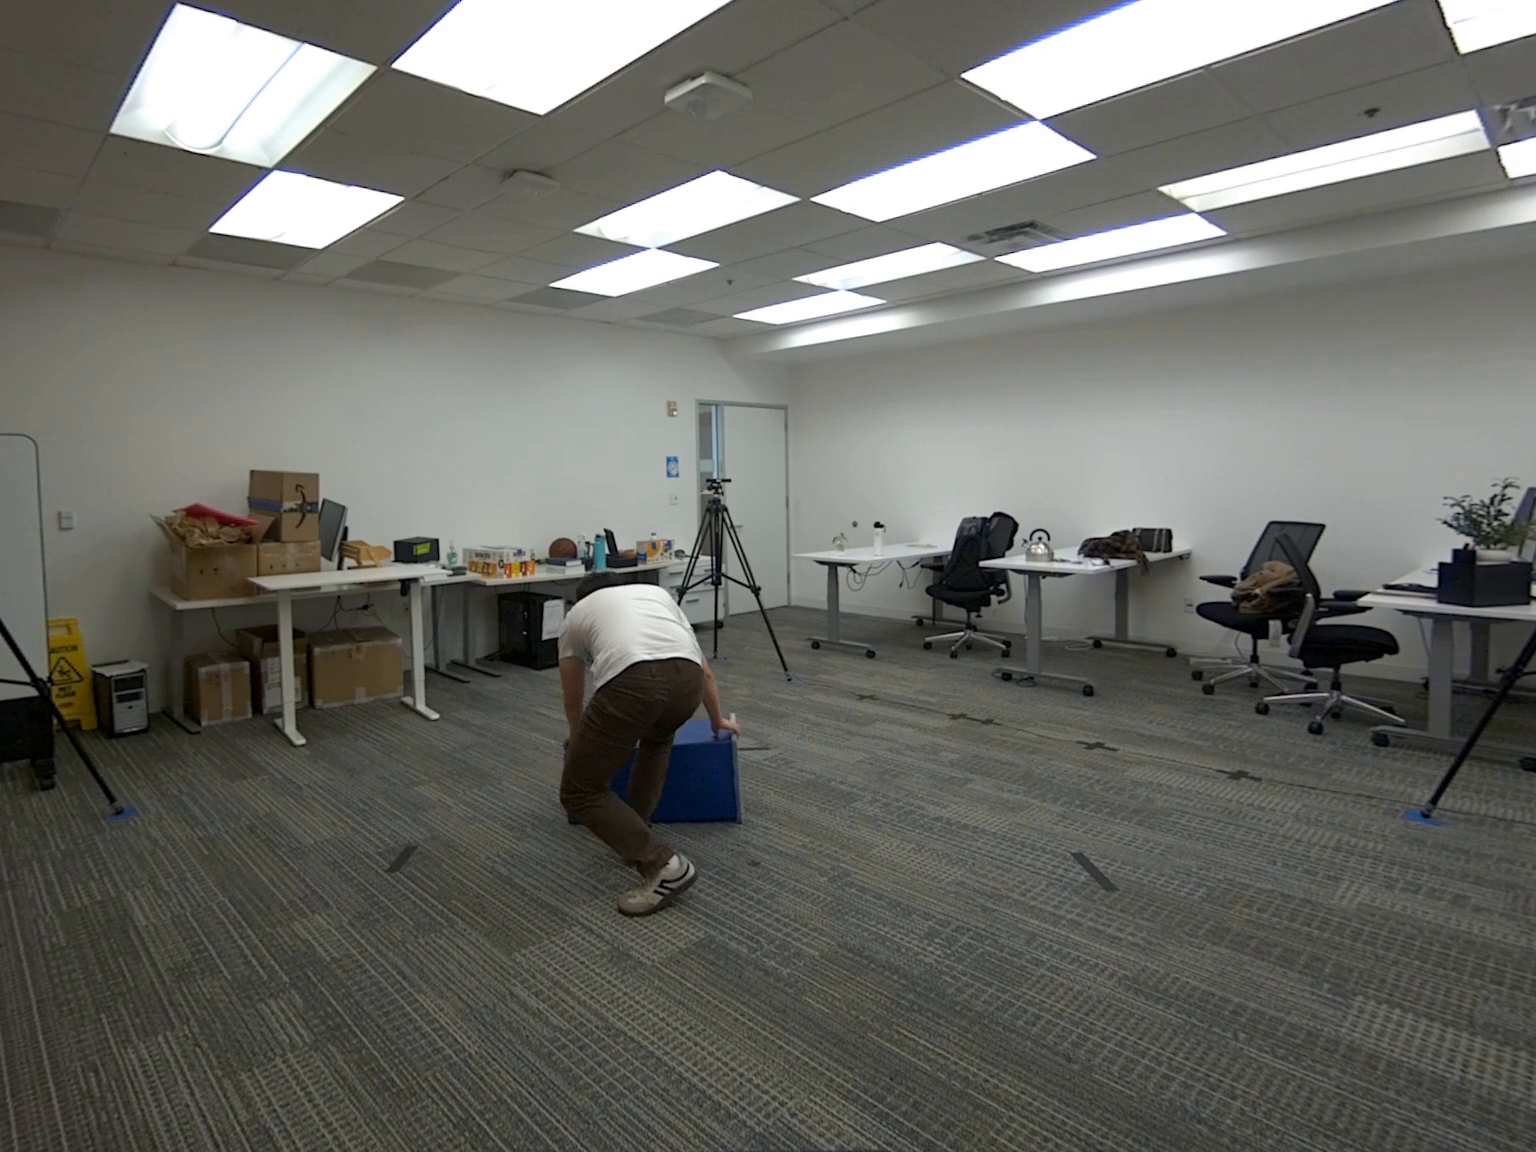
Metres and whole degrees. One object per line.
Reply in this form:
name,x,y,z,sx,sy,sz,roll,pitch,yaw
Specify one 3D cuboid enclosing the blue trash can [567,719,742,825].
blue trash can,-0.492,0.821,3.634,0.713,0.376,0.376,-3,6,0
